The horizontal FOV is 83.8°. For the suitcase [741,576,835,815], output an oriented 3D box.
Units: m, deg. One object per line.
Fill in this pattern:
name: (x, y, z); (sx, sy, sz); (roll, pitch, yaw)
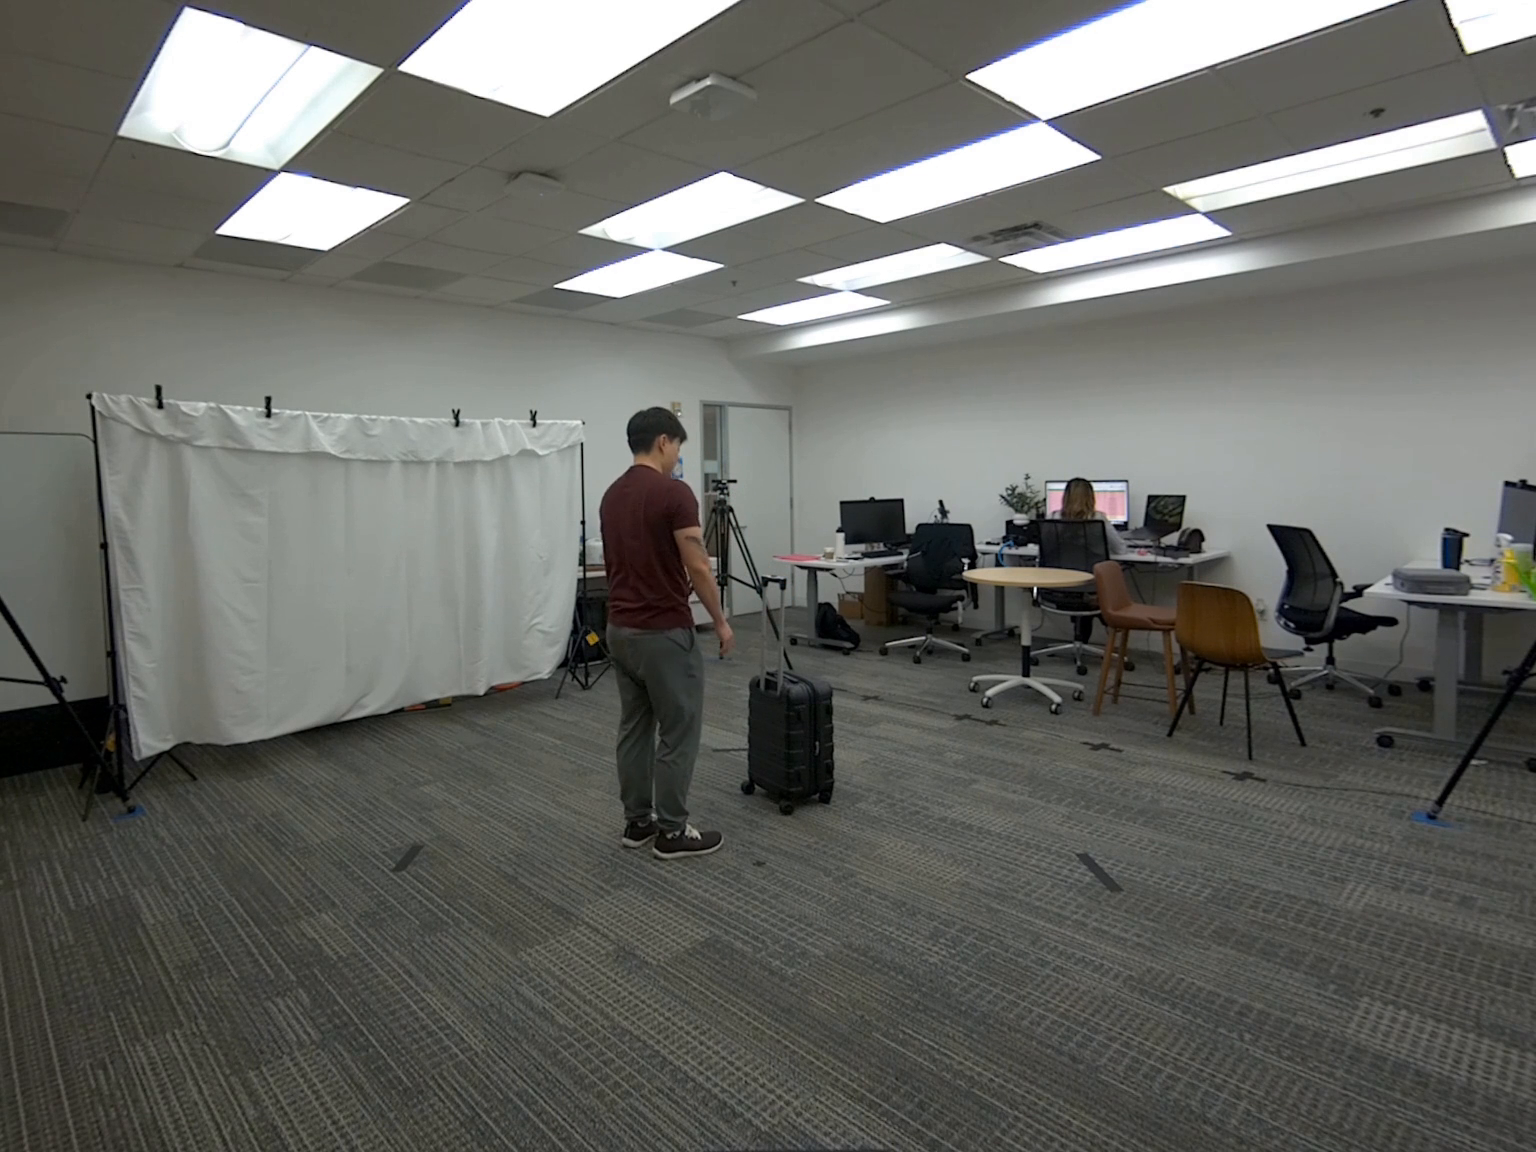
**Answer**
suitcase: (0.102, 0.499, 3.738); (0.250, 0.977, 0.394); (2, 2, -30)
